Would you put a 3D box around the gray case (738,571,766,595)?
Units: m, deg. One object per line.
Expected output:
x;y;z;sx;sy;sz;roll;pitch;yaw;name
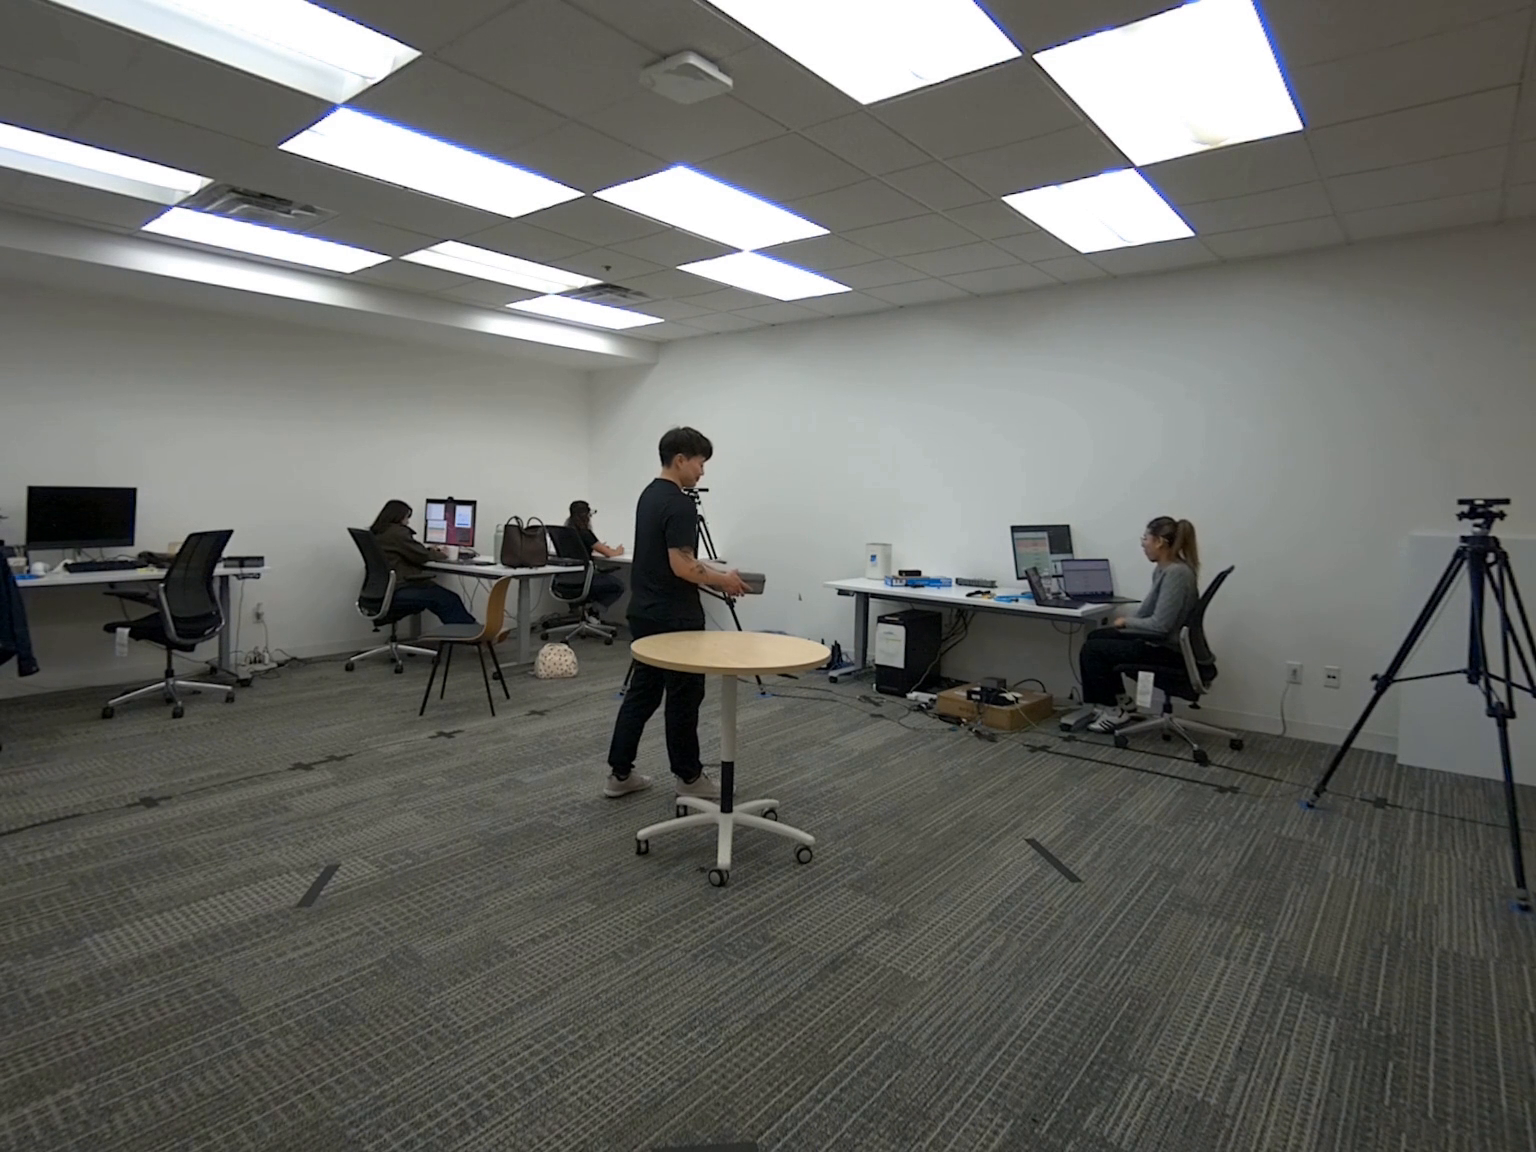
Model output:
-0.174;0.009;3.931;0.255;0.104;0.264;3;8;-20;gray case
